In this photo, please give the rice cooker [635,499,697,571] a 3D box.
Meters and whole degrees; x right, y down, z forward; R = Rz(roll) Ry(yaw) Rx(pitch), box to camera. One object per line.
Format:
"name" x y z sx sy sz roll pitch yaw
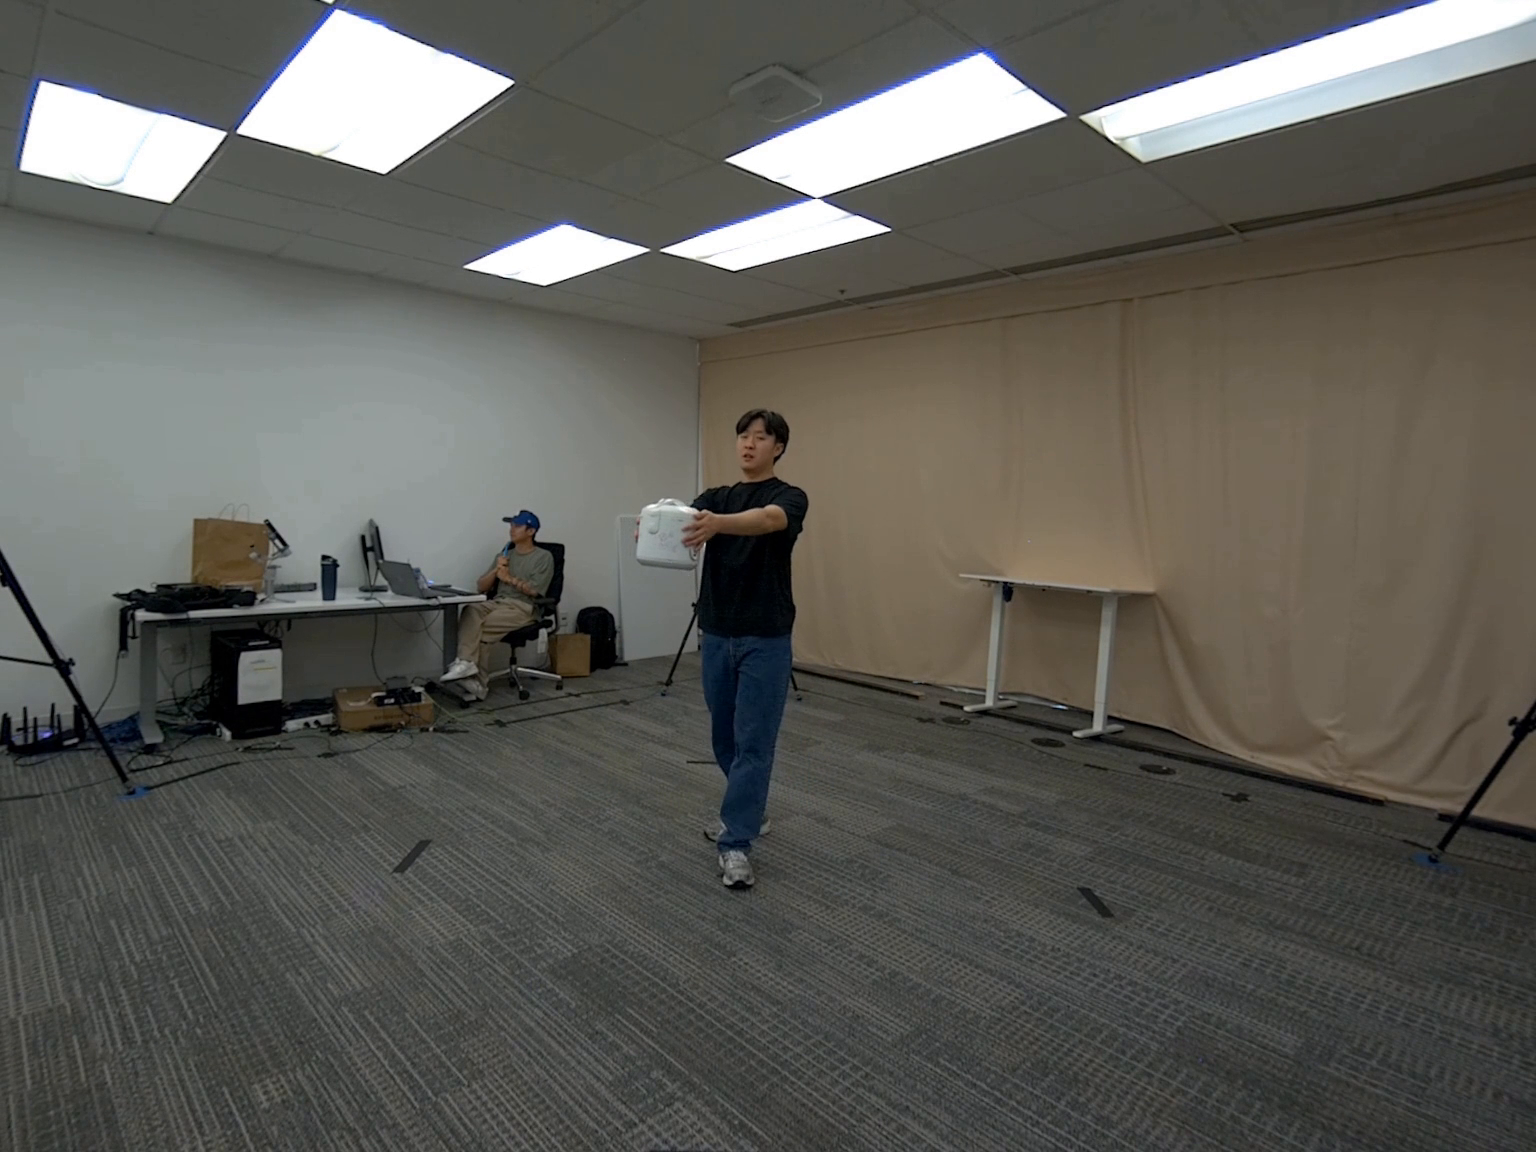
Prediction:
"rice cooker" -0.329 -0.143 2.801 0.222 0.233 0.215 5 0 31
